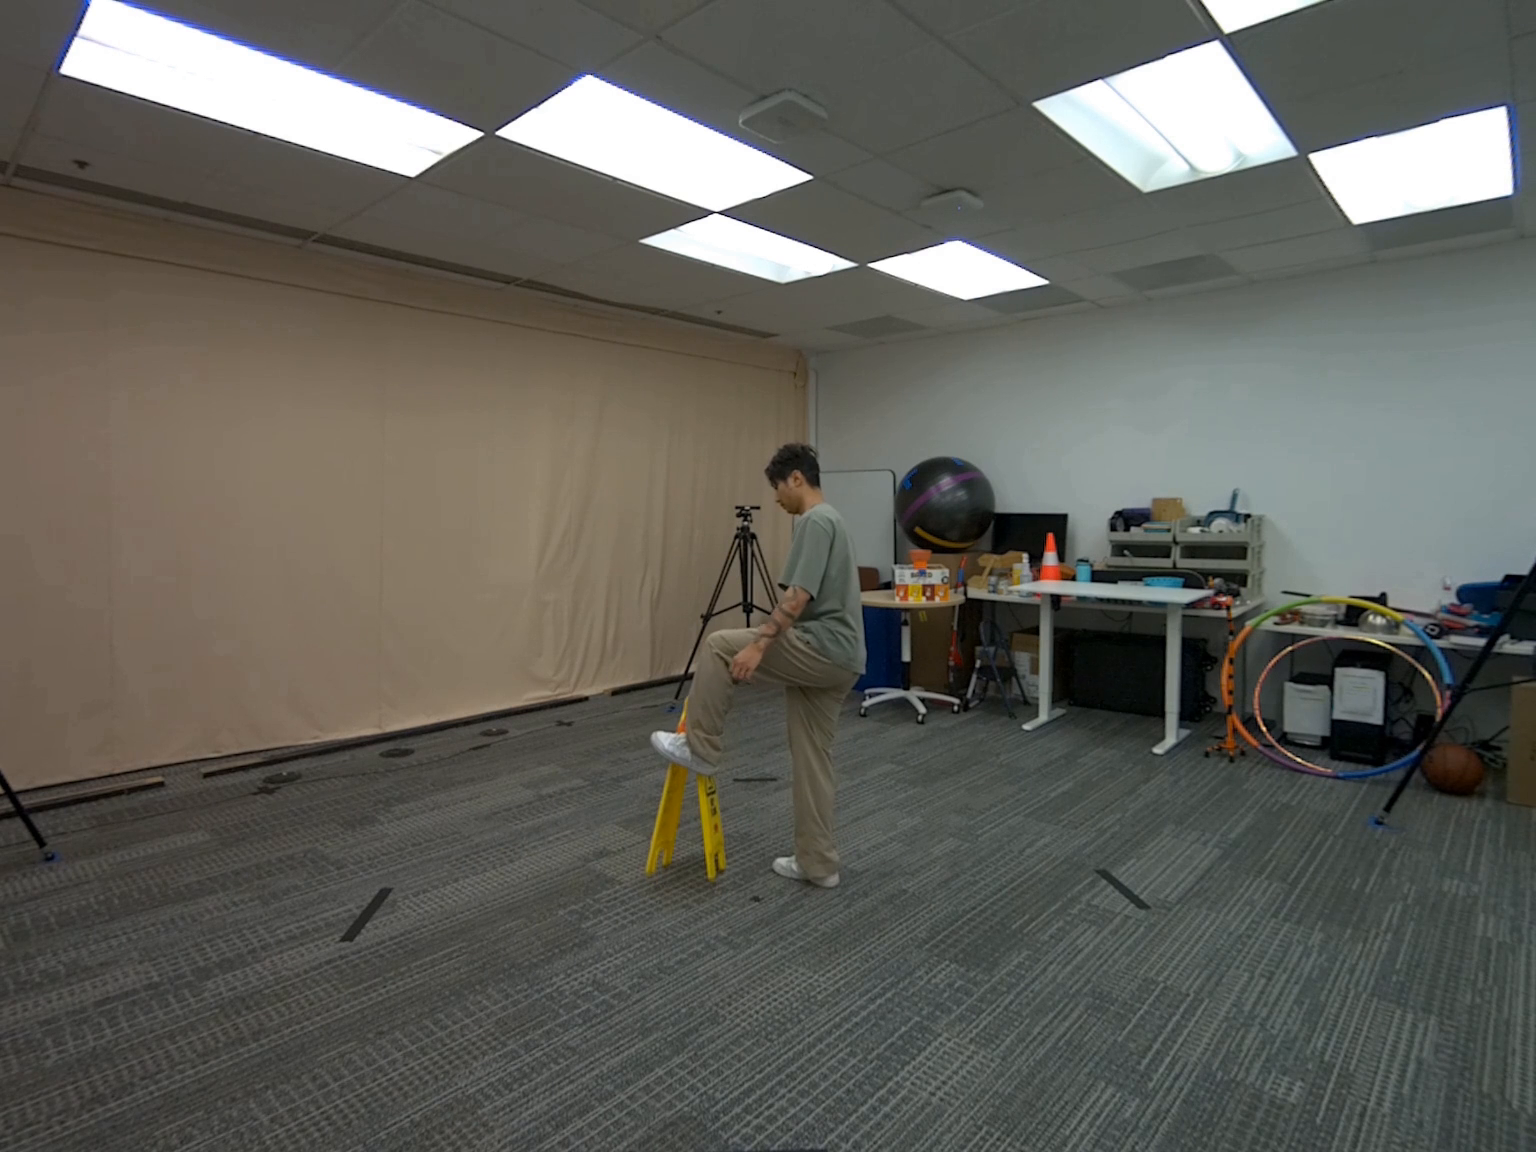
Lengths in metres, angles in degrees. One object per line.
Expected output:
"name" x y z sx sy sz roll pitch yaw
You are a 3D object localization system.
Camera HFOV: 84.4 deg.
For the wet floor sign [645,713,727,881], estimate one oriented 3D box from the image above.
"wet floor sign" -0.297 0.792 3.204 0.293 0.651 0.277 -2 -13 9
